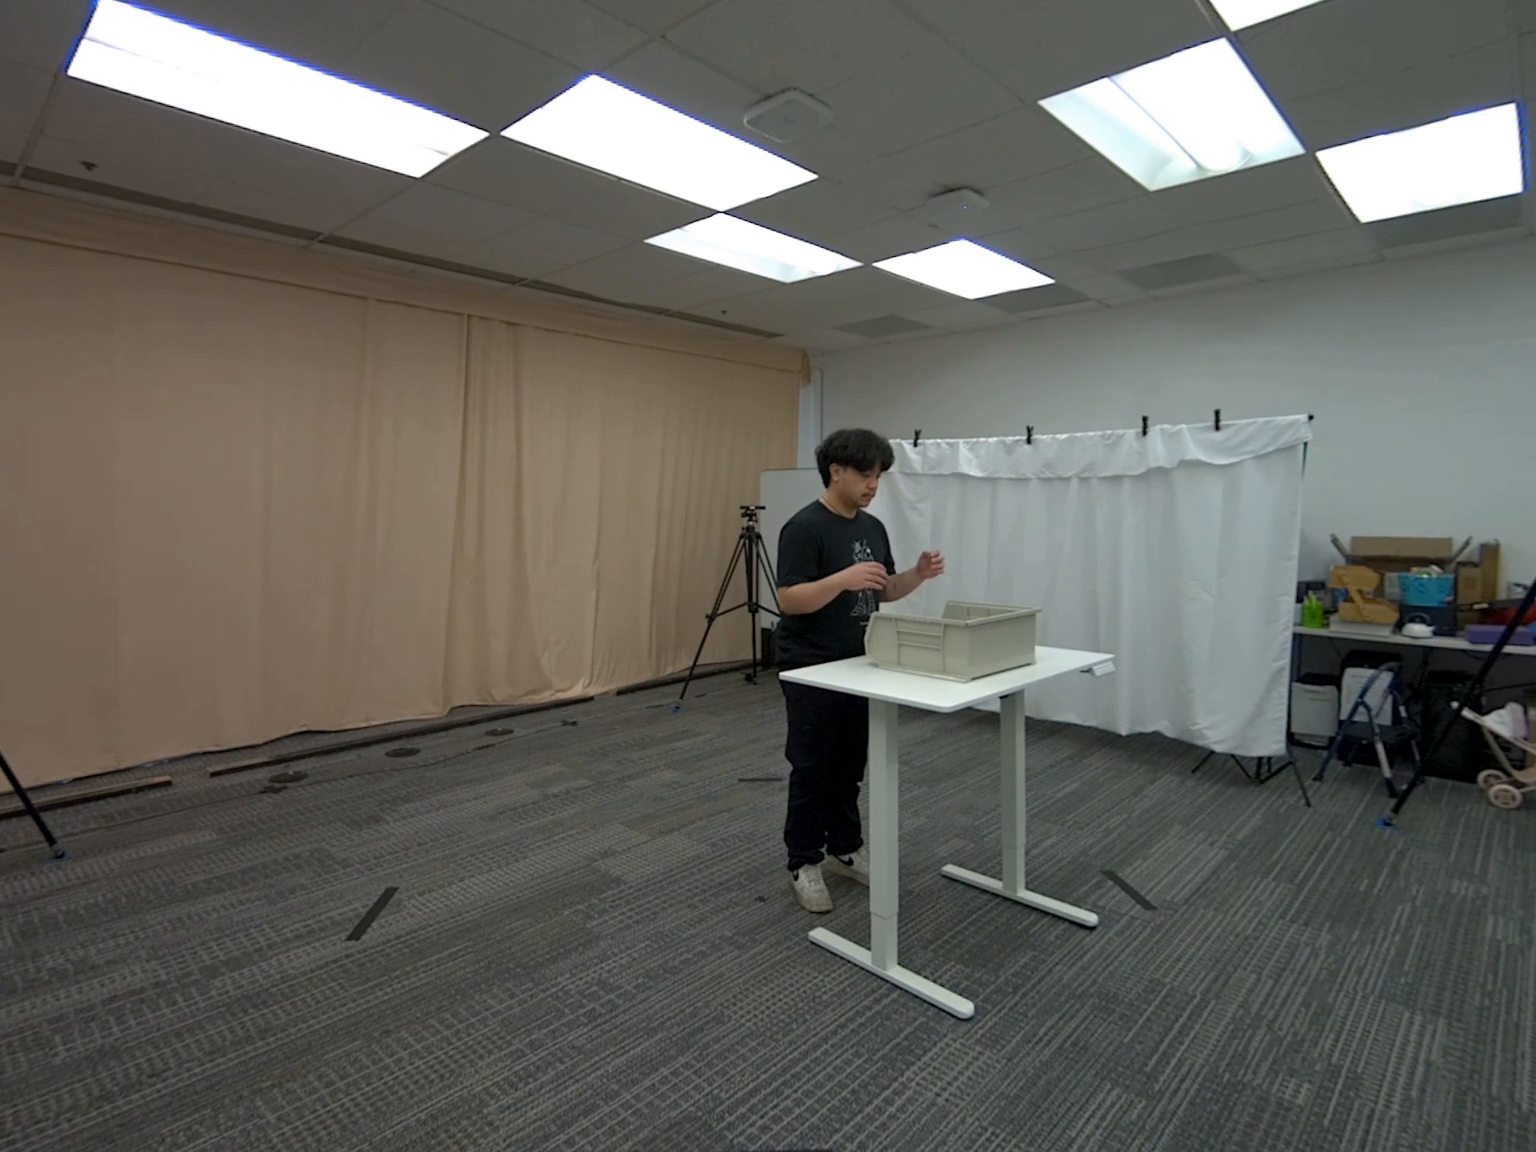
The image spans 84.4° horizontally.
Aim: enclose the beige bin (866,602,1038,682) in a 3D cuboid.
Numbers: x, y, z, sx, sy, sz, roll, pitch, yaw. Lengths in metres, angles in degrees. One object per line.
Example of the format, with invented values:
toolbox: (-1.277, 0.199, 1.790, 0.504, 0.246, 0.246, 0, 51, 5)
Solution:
beige bin: (0.586, 0.199, 2.676, 0.409, 0.188, 0.390, -4, 6, -42)
